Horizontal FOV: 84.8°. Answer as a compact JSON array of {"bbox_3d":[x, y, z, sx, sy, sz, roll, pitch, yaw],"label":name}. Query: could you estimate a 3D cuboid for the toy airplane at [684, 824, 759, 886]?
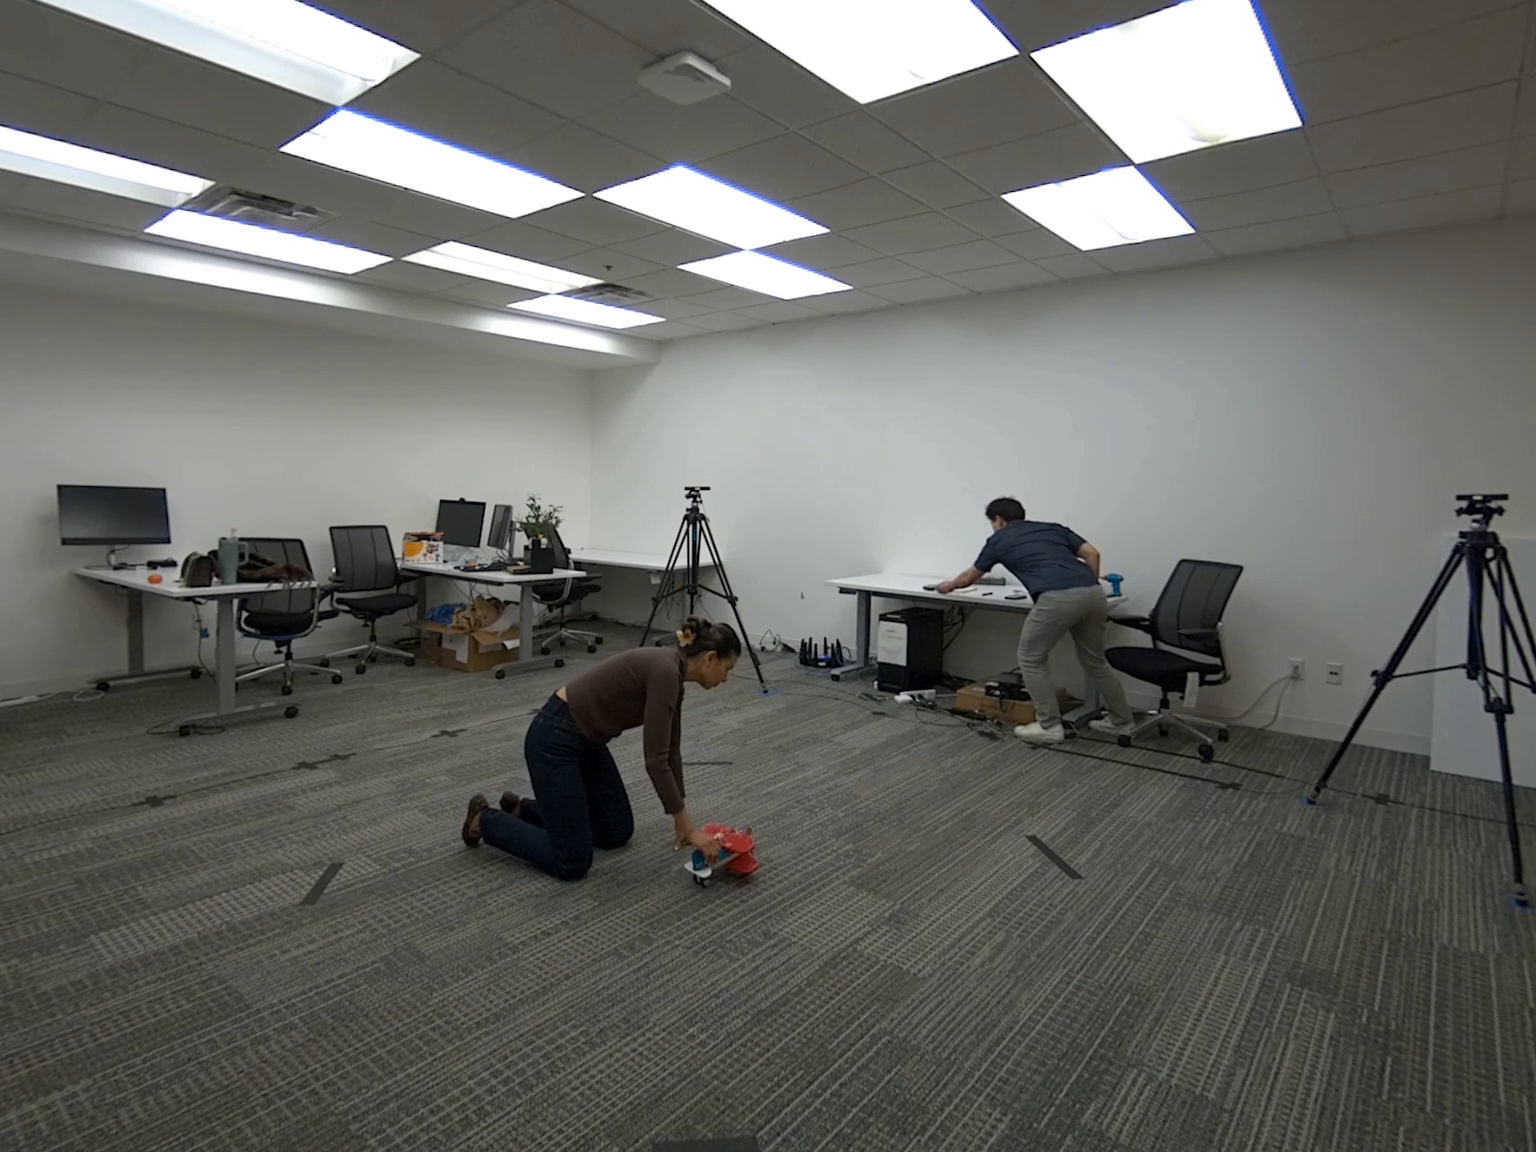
[{"bbox_3d":[-0.164,1.006,3.021,0.257,0.156,0.254,2,2,20],"label":"toy airplane"}]
